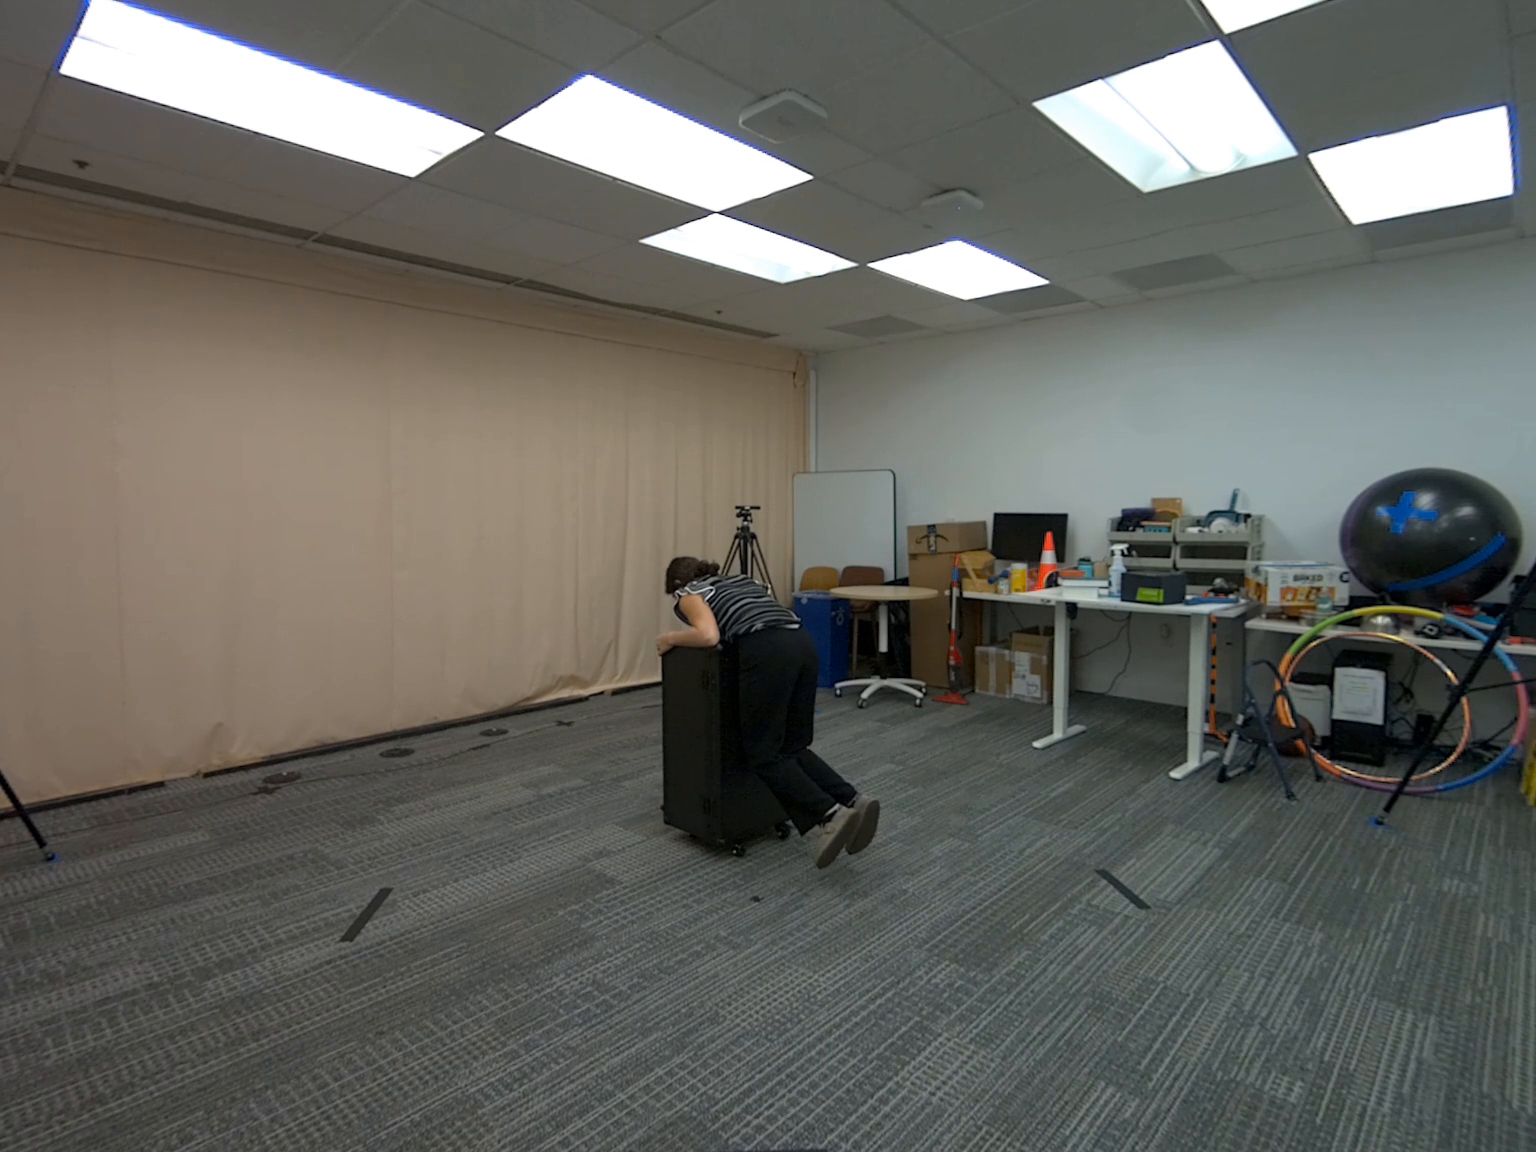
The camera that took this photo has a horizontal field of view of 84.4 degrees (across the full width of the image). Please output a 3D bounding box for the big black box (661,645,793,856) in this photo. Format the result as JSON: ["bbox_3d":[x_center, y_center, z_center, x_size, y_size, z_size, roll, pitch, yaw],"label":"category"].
[{"bbox_3d":[-0.155,0.684,3.542,0.505,0.861,0.409,-2,2,-45],"label":"big black box"}]
